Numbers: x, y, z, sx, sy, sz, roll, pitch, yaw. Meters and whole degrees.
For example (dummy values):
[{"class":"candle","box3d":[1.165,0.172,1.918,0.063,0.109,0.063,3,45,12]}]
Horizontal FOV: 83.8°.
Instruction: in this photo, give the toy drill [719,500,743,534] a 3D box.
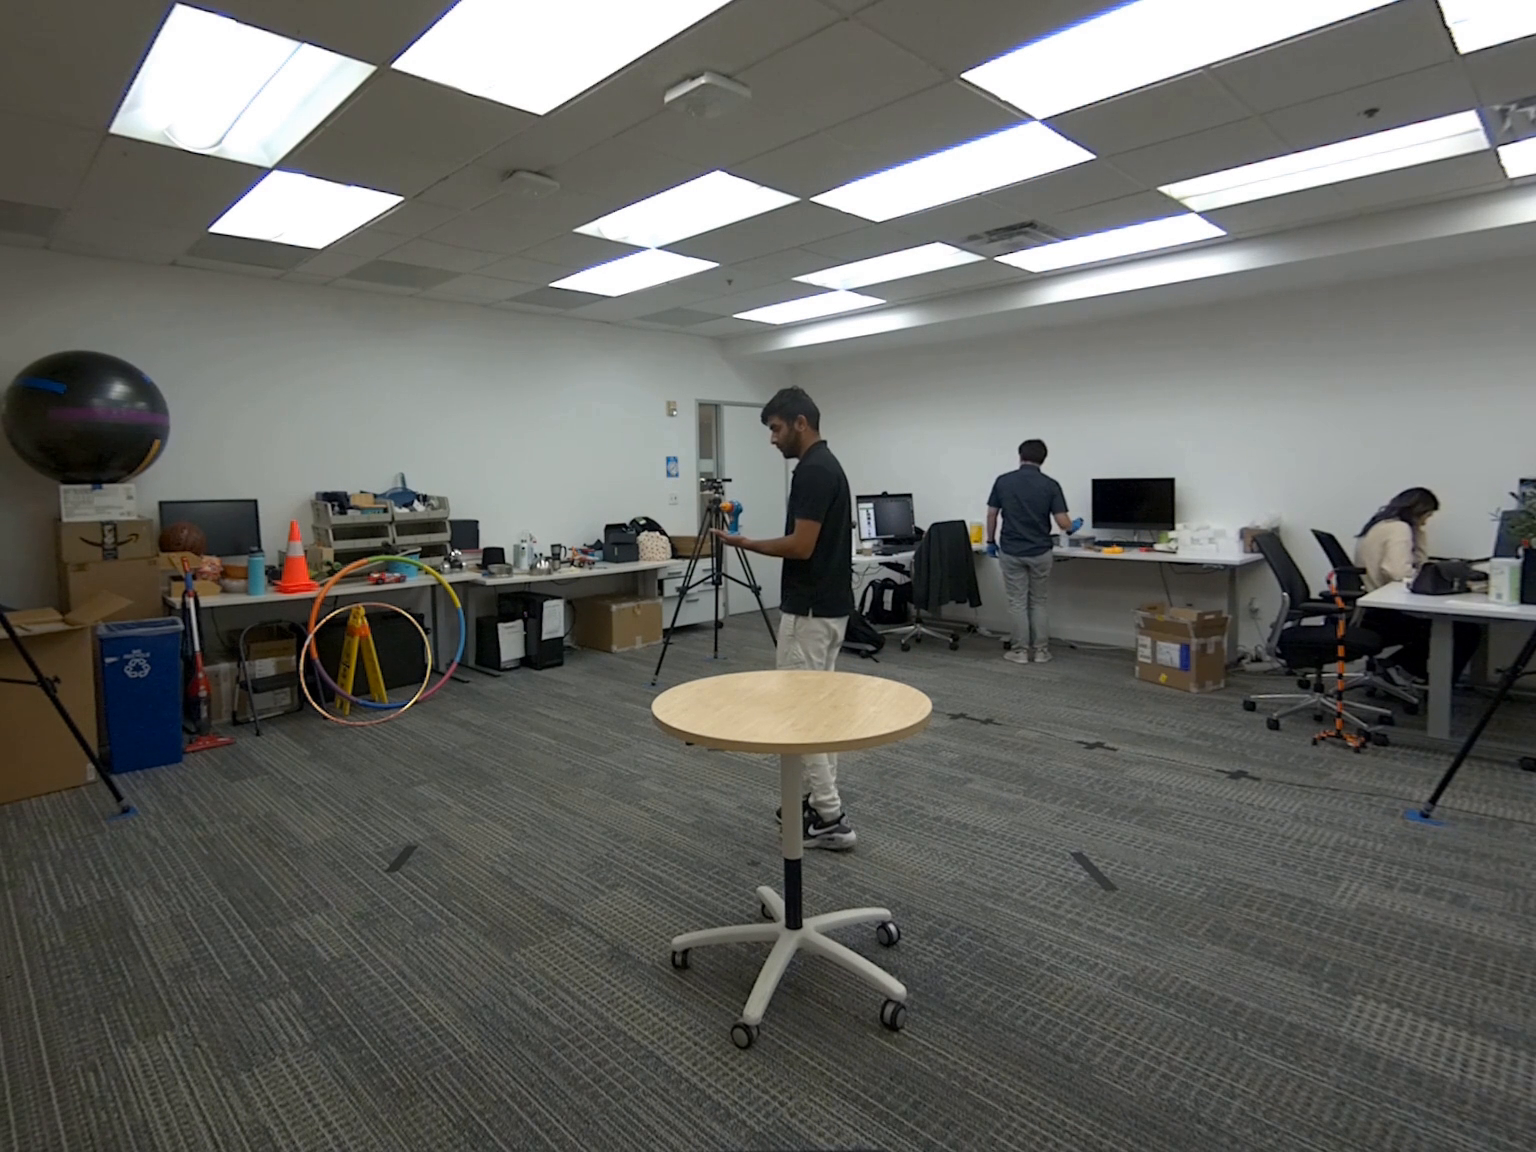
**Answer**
[{"class":"toy drill","box3d":[-0.146,-0.226,3.293,0.062,0.146,0.165,4,0,25]}]
